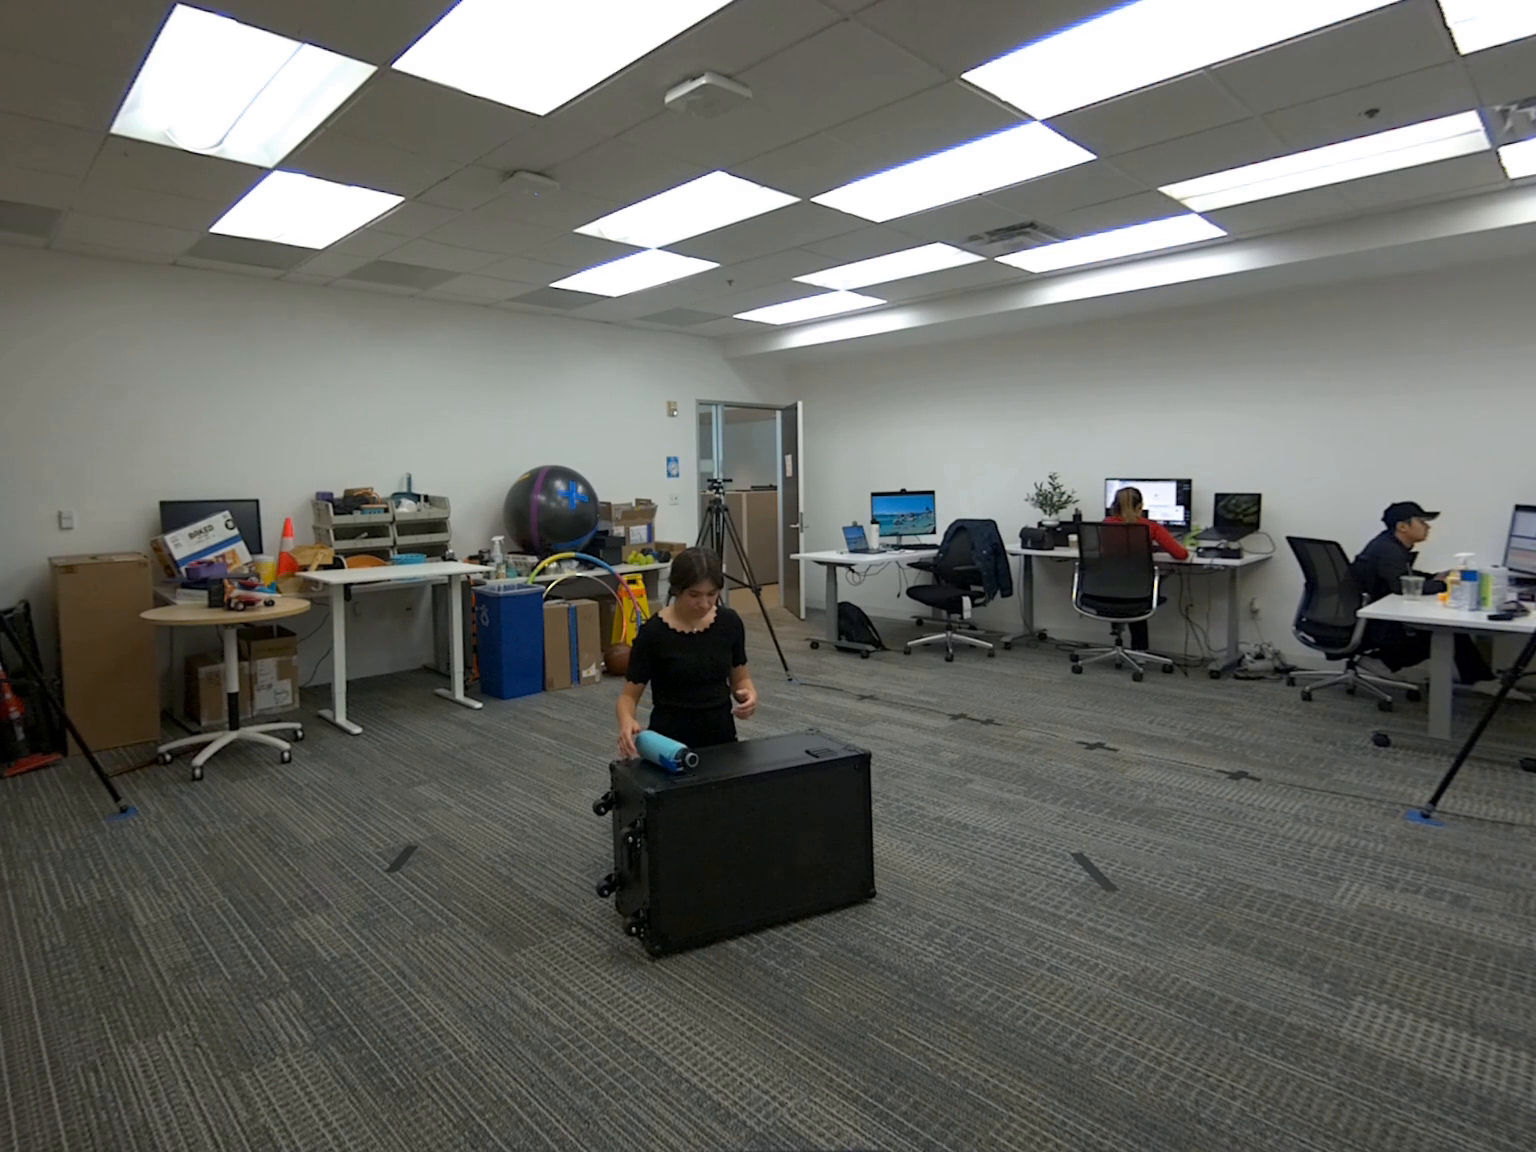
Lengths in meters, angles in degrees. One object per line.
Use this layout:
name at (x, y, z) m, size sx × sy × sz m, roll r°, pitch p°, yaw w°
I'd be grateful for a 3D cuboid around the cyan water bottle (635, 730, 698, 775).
cyan water bottle at (-0.318, 0.561, 2.710) m, size 0.090 × 0.092 × 0.291 m, roll -4°, pitch 3°, yaw -34°
